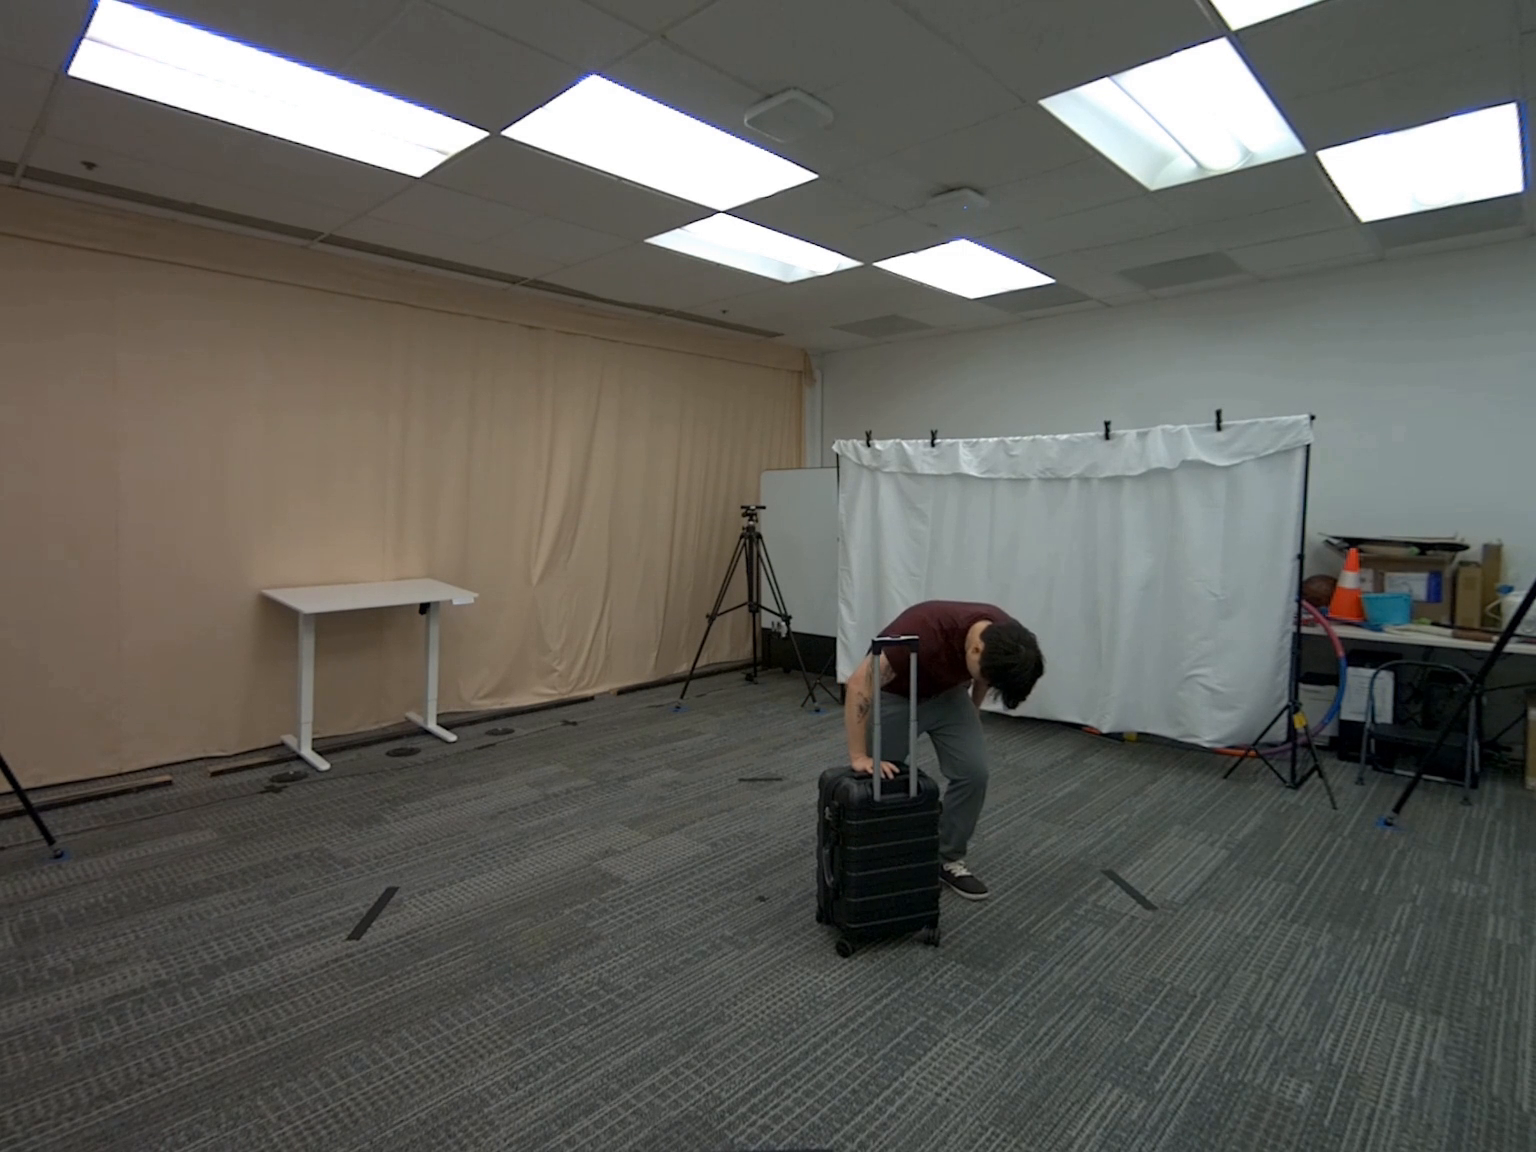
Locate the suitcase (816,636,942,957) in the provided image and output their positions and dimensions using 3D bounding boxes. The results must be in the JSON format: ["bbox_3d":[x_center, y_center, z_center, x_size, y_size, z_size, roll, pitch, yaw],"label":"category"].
[{"bbox_3d":[0.352,0.693,2.719,0.377,0.978,0.262,0,2,-17],"label":"suitcase"}]
